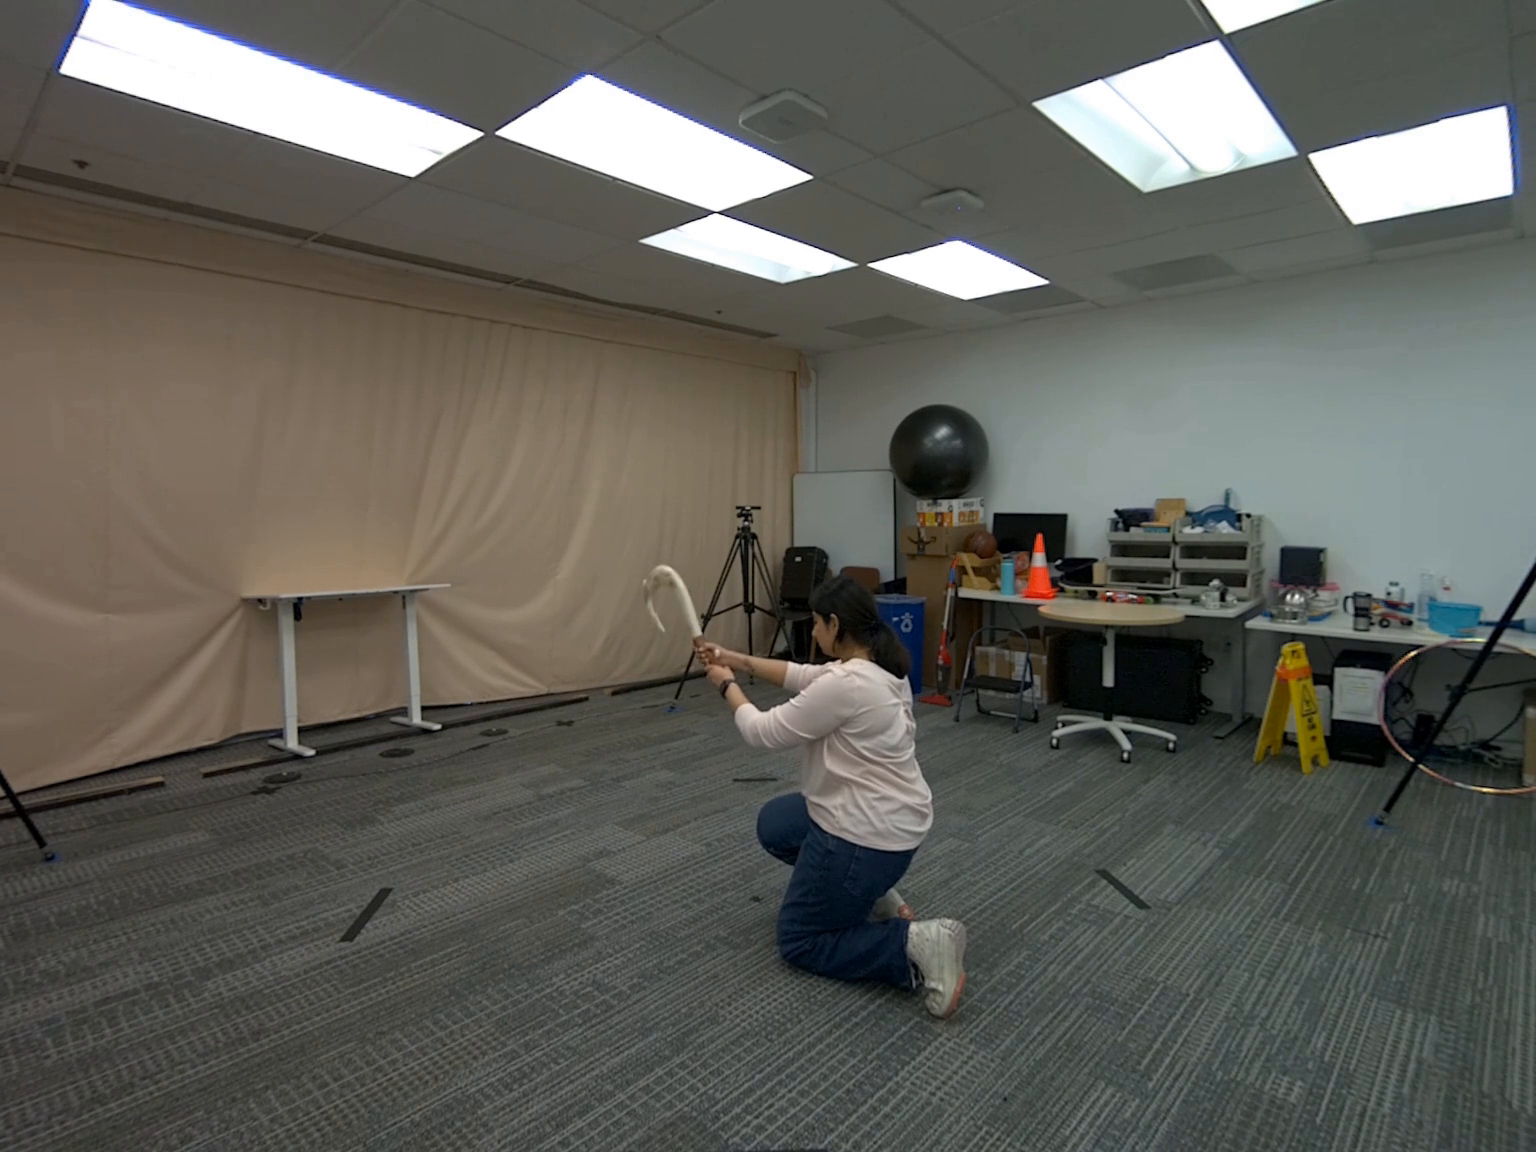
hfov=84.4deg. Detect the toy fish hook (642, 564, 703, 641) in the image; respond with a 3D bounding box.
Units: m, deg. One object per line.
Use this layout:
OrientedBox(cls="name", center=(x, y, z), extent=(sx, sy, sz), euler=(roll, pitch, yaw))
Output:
OrientedBox(cls="toy fish hook", center=(-0.273, 0.198, 2.904), extent=(0.047, 0.518, 0.226), euler=(-10, -30, -45))
